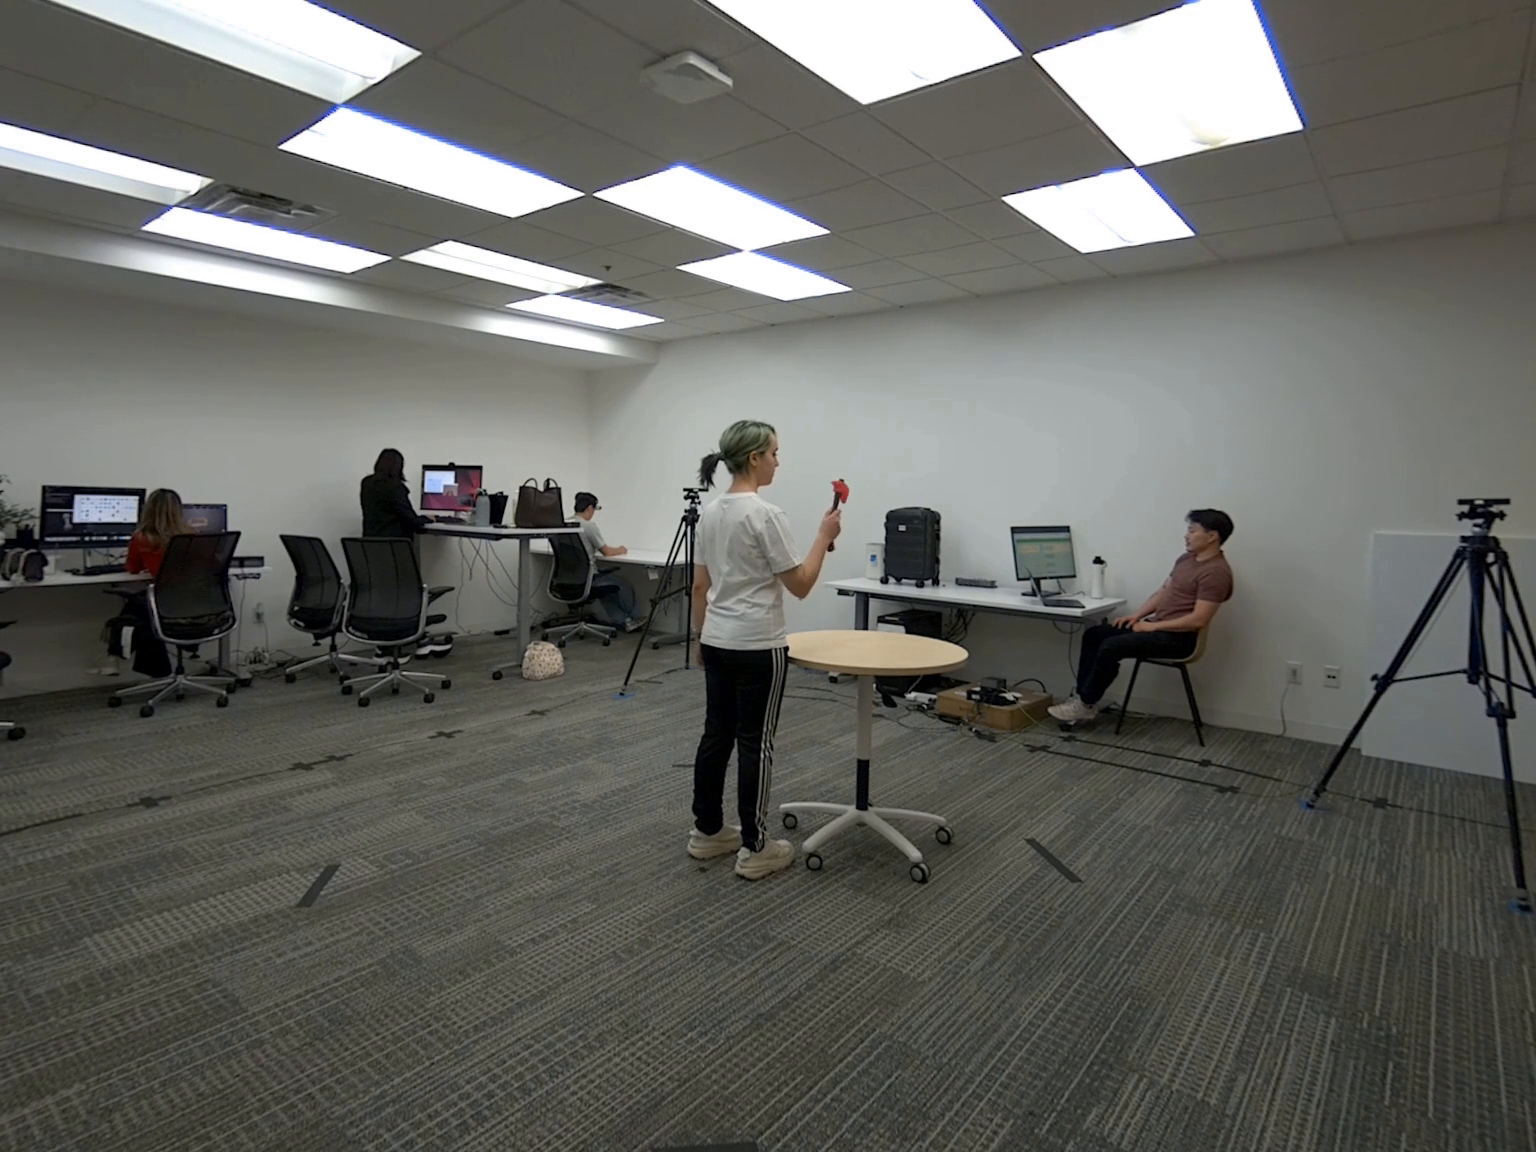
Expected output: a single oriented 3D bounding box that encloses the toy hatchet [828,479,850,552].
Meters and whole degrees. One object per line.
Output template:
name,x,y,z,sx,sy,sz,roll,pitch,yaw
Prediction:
toy hatchet,0.253,-0.235,3.198,0.030,0.268,0.127,7,8,38
